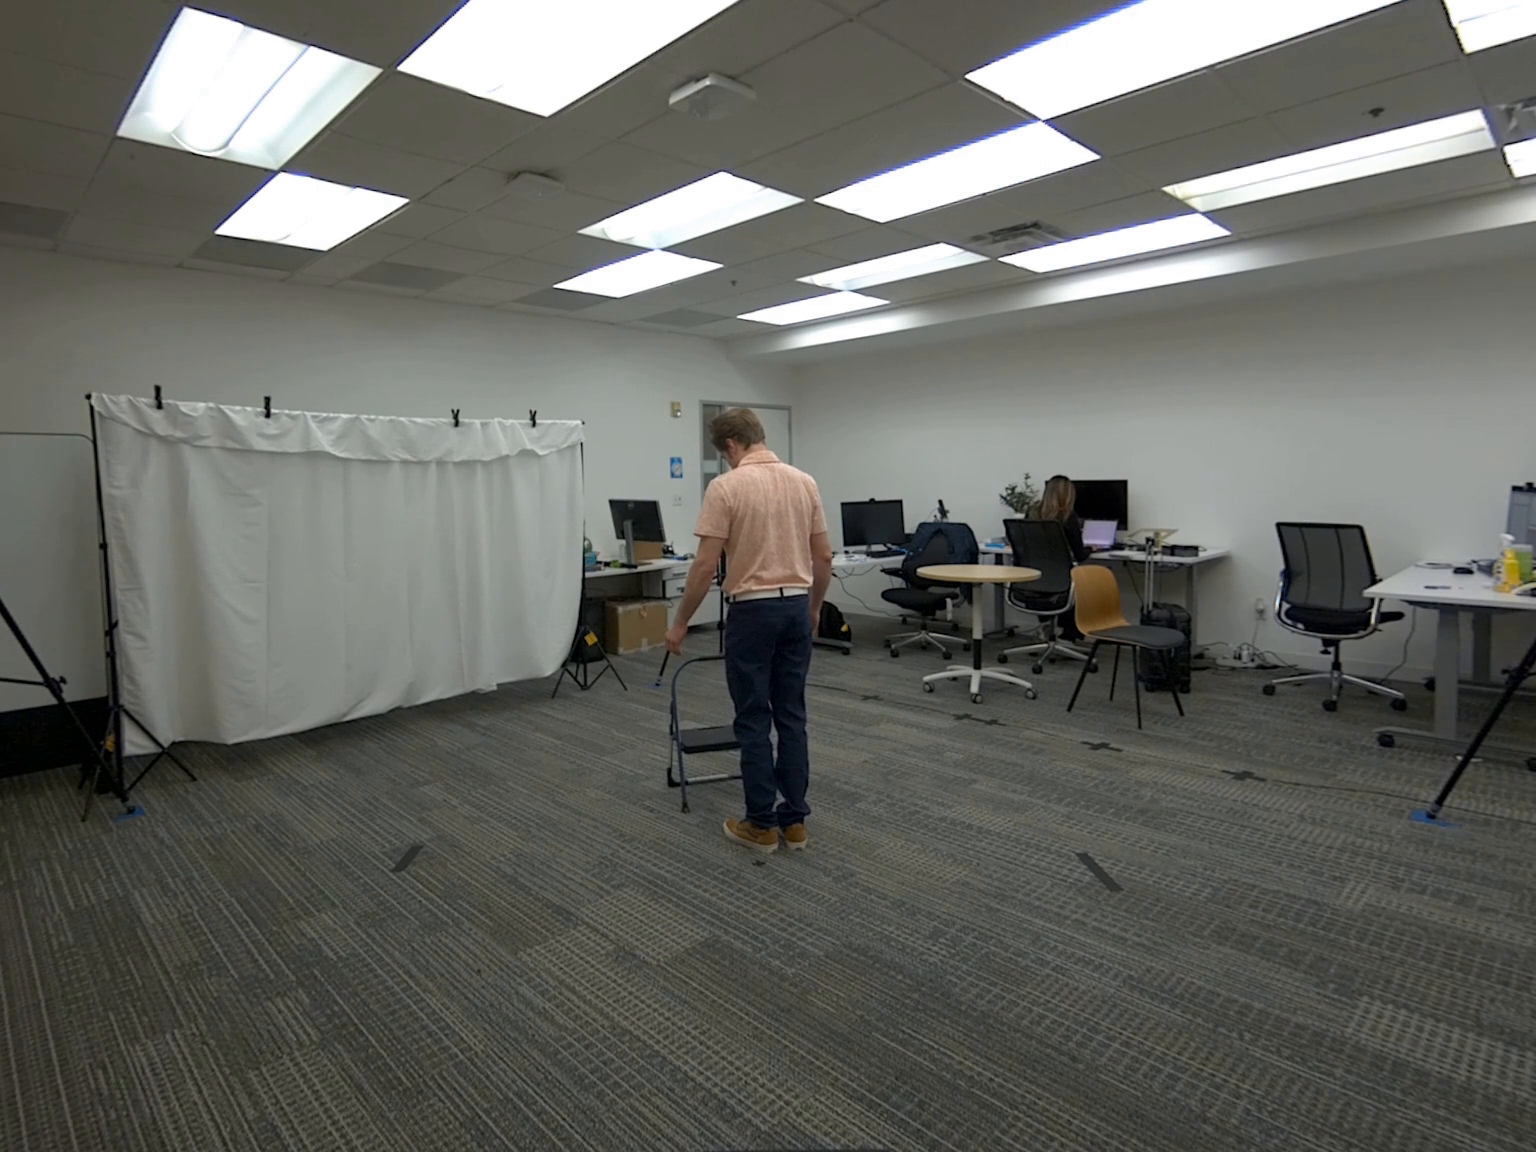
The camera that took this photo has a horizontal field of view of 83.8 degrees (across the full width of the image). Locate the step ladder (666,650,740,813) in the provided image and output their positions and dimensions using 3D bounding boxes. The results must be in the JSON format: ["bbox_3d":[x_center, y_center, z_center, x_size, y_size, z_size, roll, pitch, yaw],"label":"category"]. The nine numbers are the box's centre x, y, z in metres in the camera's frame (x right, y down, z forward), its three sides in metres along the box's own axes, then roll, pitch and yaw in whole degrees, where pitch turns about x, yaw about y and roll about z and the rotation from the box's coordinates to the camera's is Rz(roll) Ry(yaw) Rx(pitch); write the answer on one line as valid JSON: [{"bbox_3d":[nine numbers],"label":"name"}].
[{"bbox_3d":[-0.219,0.669,3.810,0.424,0.604,0.356,-2,4,-18],"label":"step ladder"}]
